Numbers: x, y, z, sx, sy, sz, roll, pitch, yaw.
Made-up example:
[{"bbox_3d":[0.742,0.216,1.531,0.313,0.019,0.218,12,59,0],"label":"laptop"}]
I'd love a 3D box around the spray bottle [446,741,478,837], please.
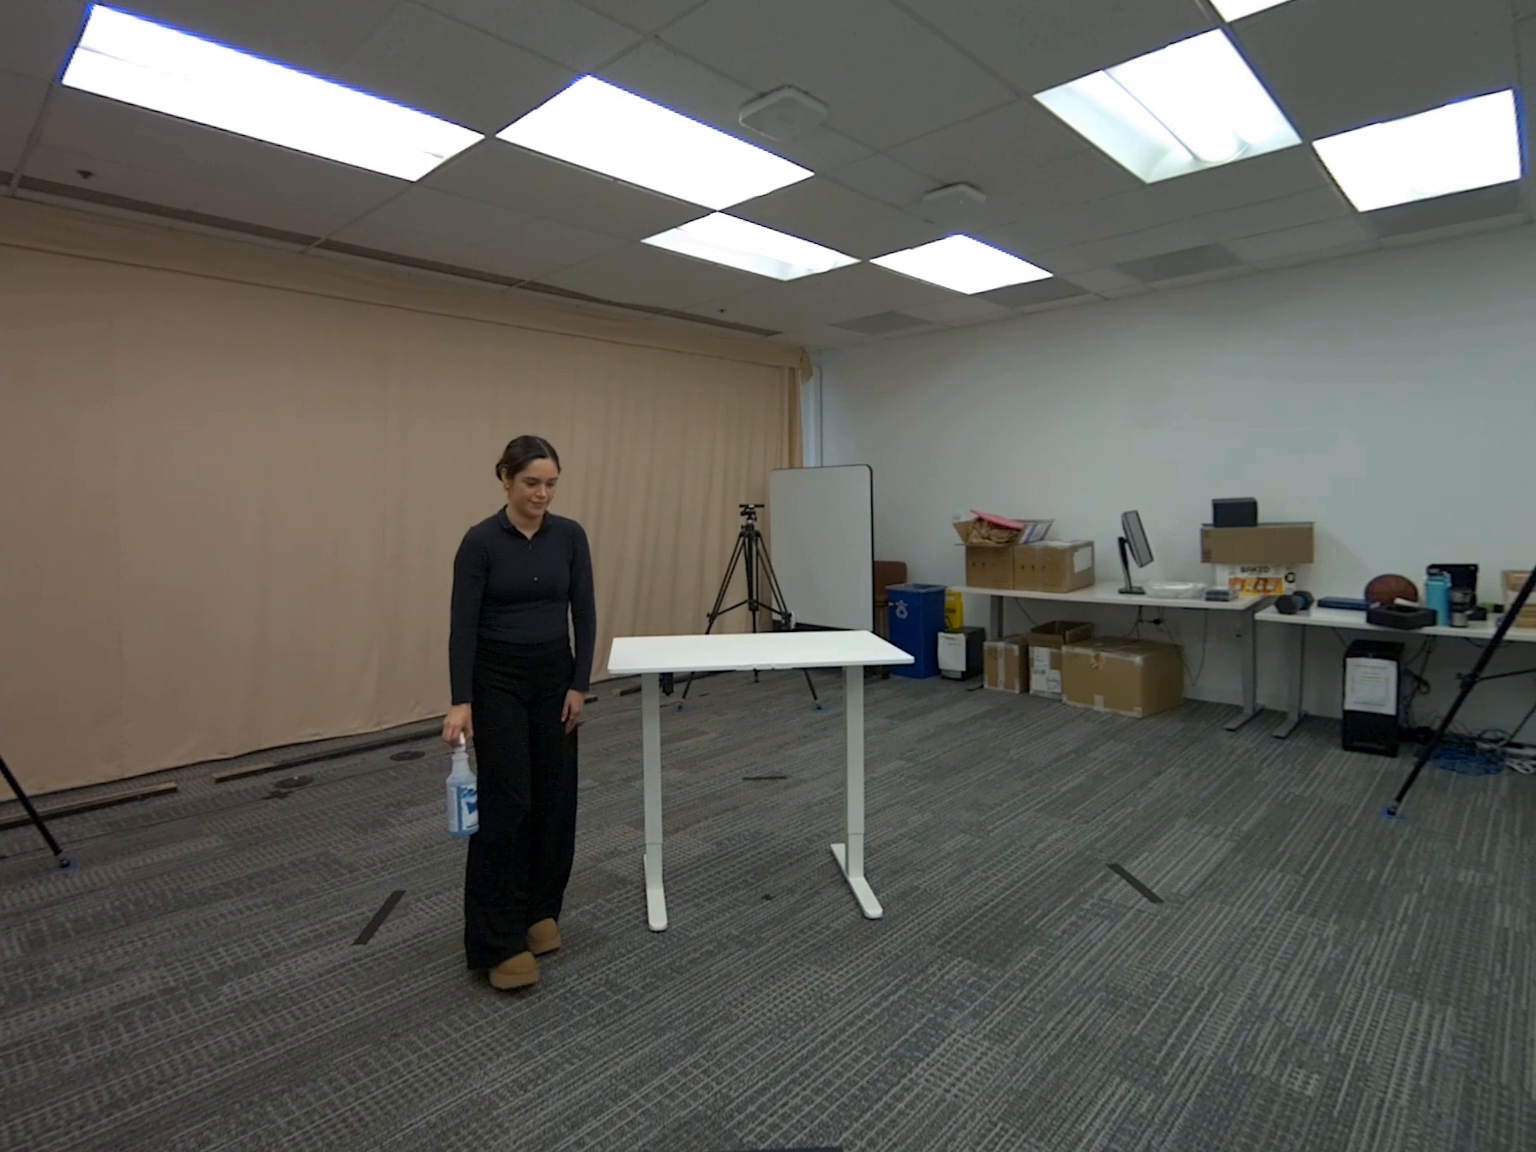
[{"bbox_3d":[-0.900,0.610,2.489,0.086,0.298,0.091,-4,-3,-10],"label":"spray bottle"}]
